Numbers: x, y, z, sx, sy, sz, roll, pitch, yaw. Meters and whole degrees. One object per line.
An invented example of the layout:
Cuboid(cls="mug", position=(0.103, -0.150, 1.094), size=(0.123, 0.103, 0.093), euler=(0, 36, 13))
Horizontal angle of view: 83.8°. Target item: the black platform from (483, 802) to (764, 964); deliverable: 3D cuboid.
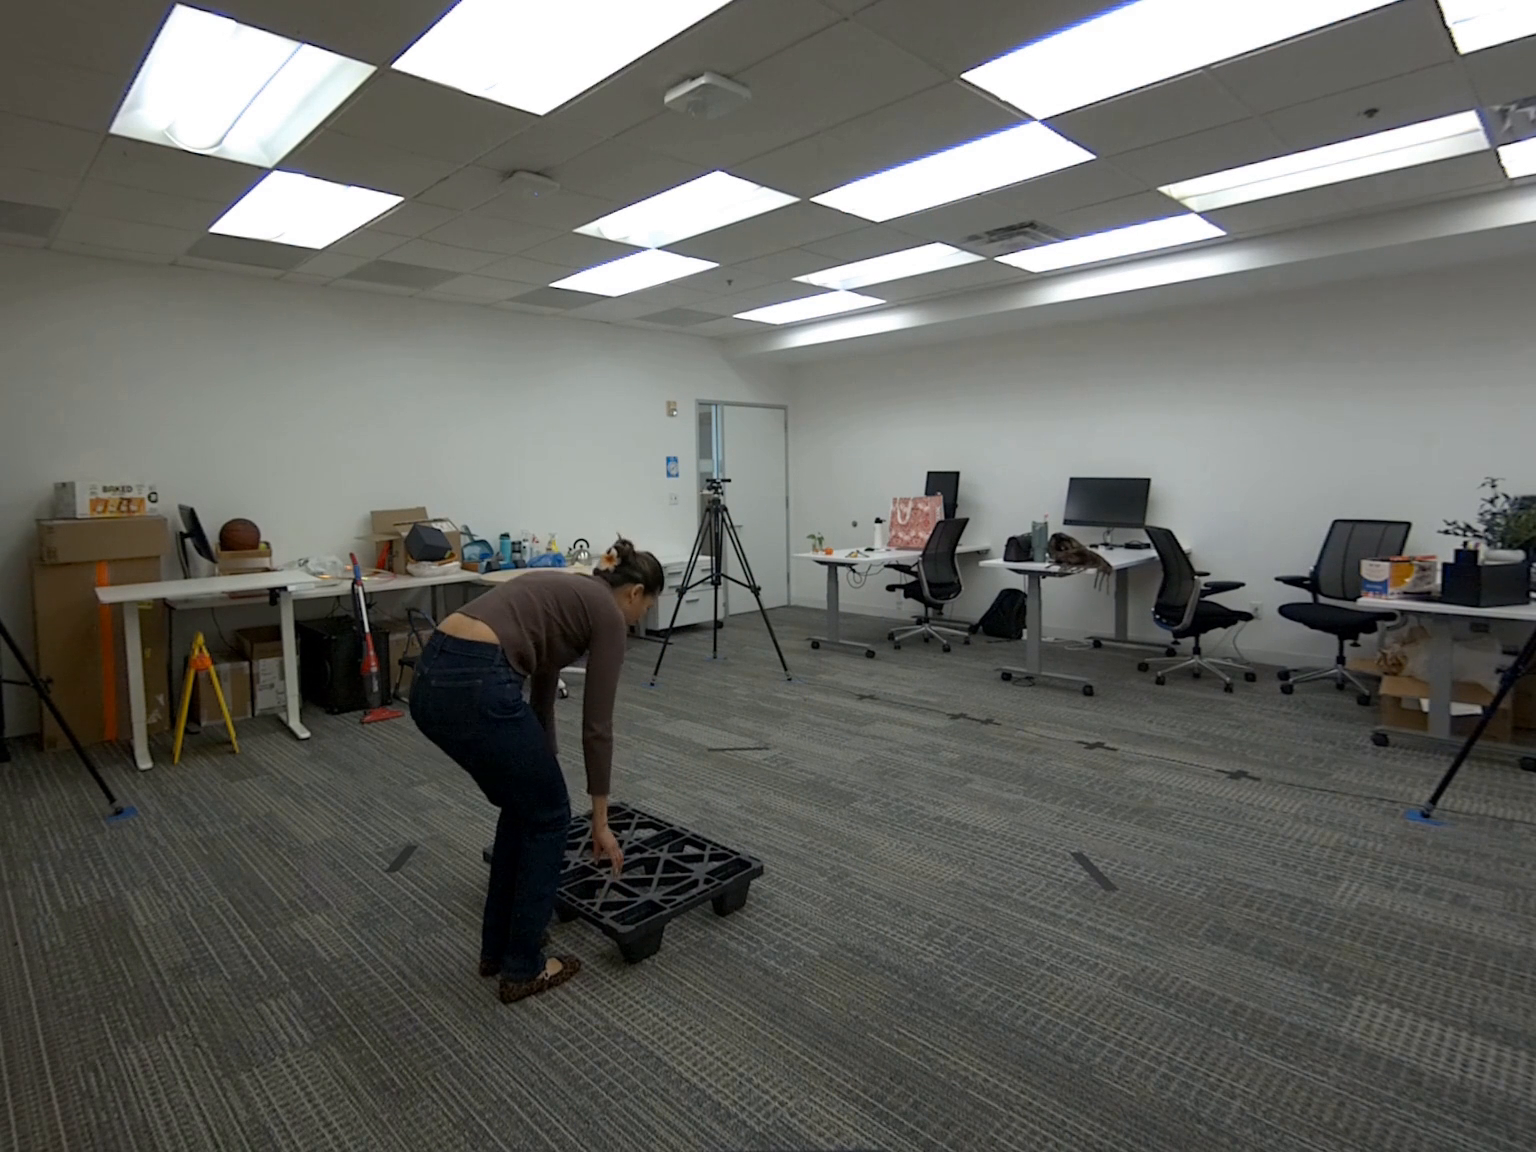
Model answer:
Cuboid(cls="black platform", position=(-0.494, 1.010, 2.896), size=(0.831, 0.142, 0.589), euler=(6, 9, 44))
